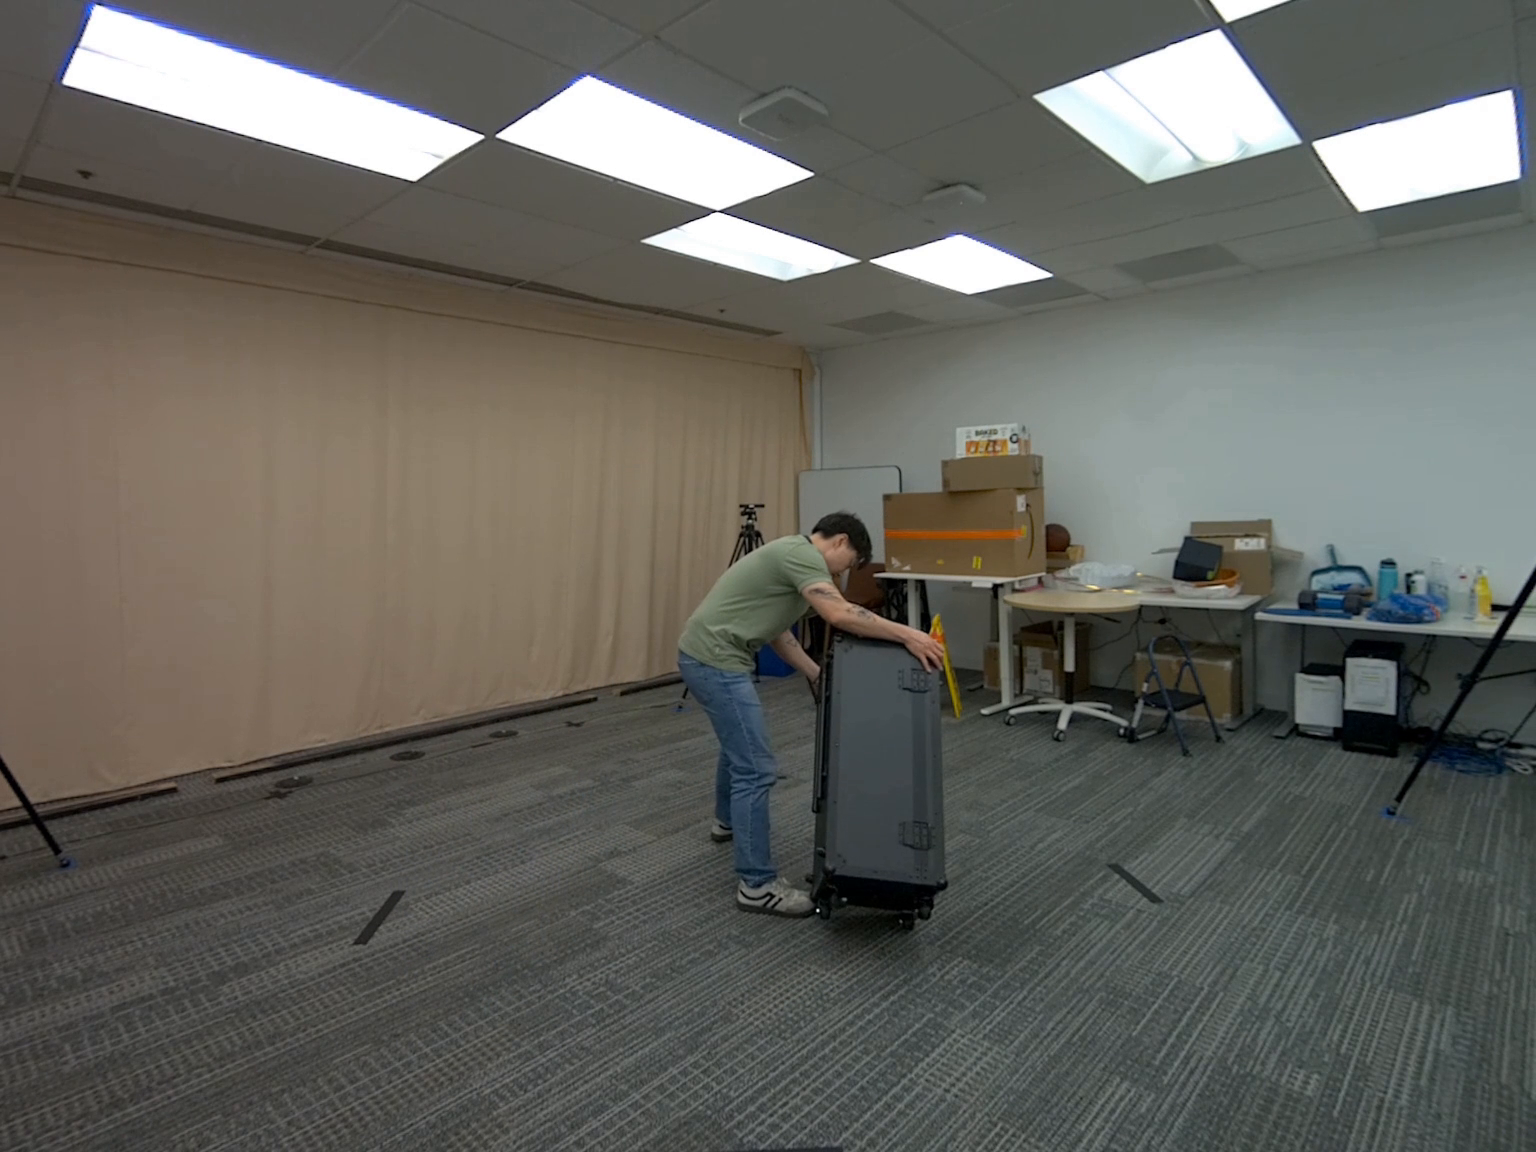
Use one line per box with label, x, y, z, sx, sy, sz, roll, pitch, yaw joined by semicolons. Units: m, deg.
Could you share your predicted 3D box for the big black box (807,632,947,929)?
big black box;0.356;0.700;2.835;0.398;0.873;0.512;4;-31;2
